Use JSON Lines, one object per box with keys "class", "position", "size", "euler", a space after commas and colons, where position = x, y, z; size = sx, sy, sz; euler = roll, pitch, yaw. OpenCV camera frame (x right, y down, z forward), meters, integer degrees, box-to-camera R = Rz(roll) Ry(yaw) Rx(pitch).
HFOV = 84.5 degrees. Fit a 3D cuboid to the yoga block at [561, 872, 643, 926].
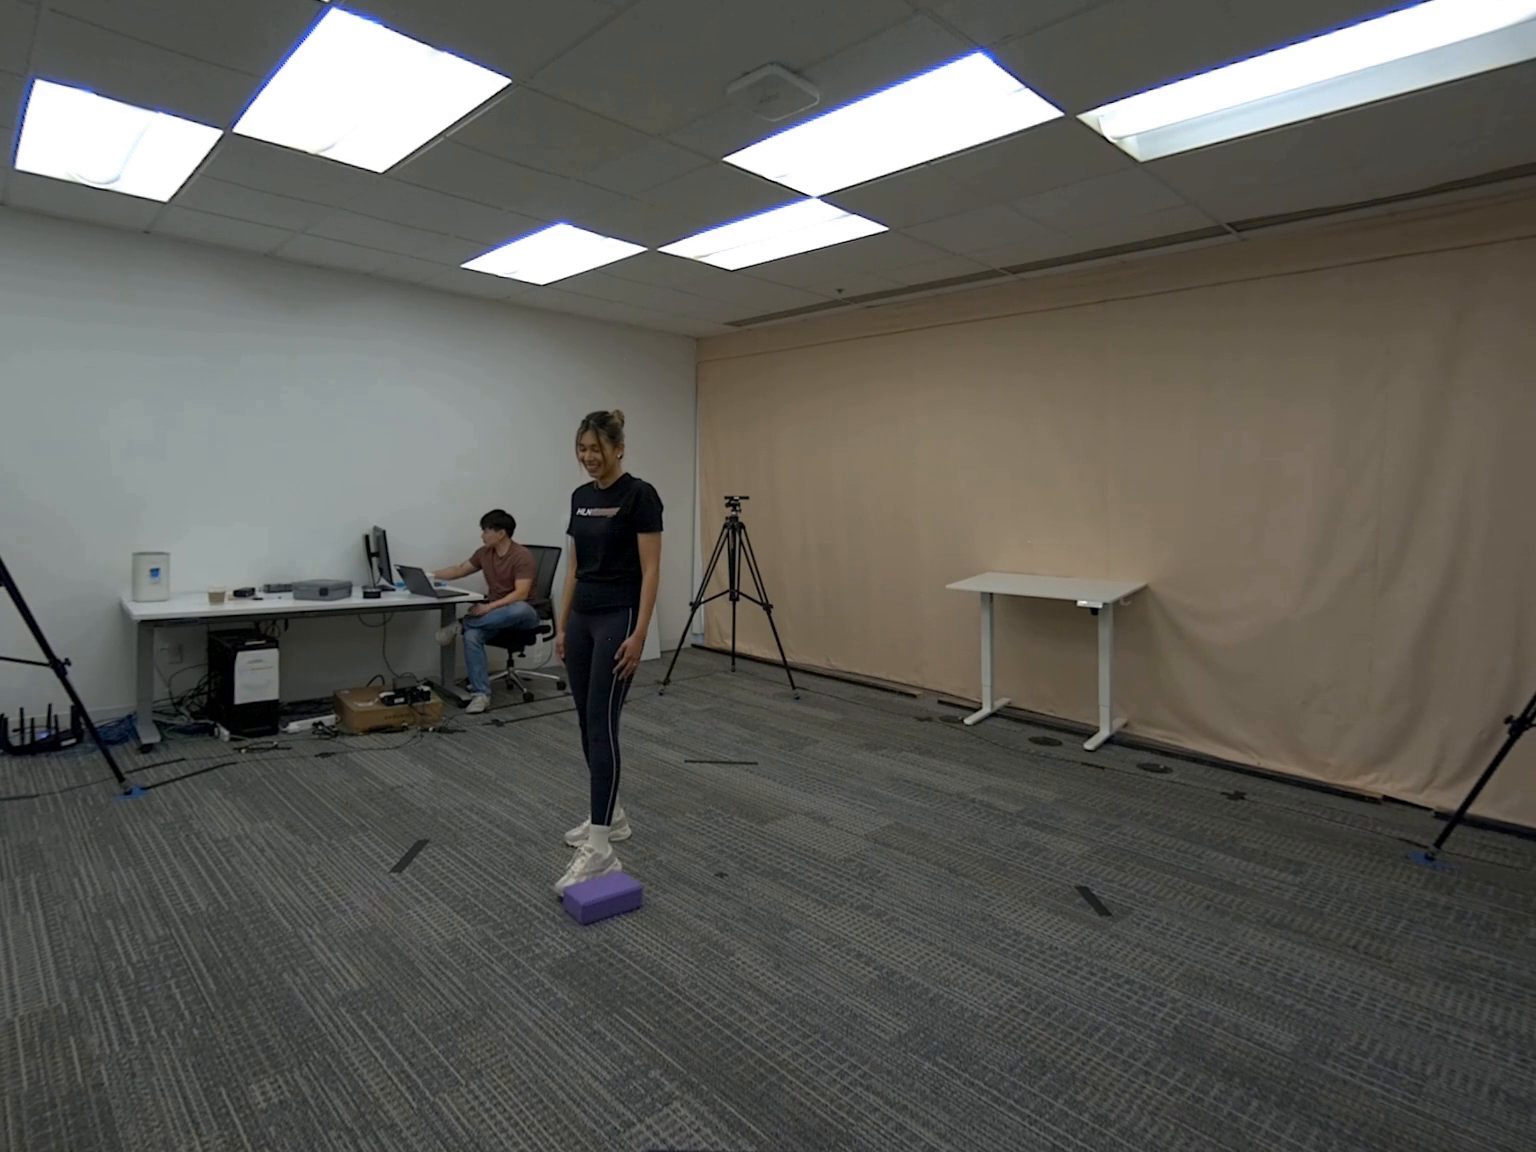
{"class": "yoga block", "position": [-0.558, 1.077, 2.831], "size": [0.224, 0.076, 0.153], "euler": [-3, 7, -39]}
